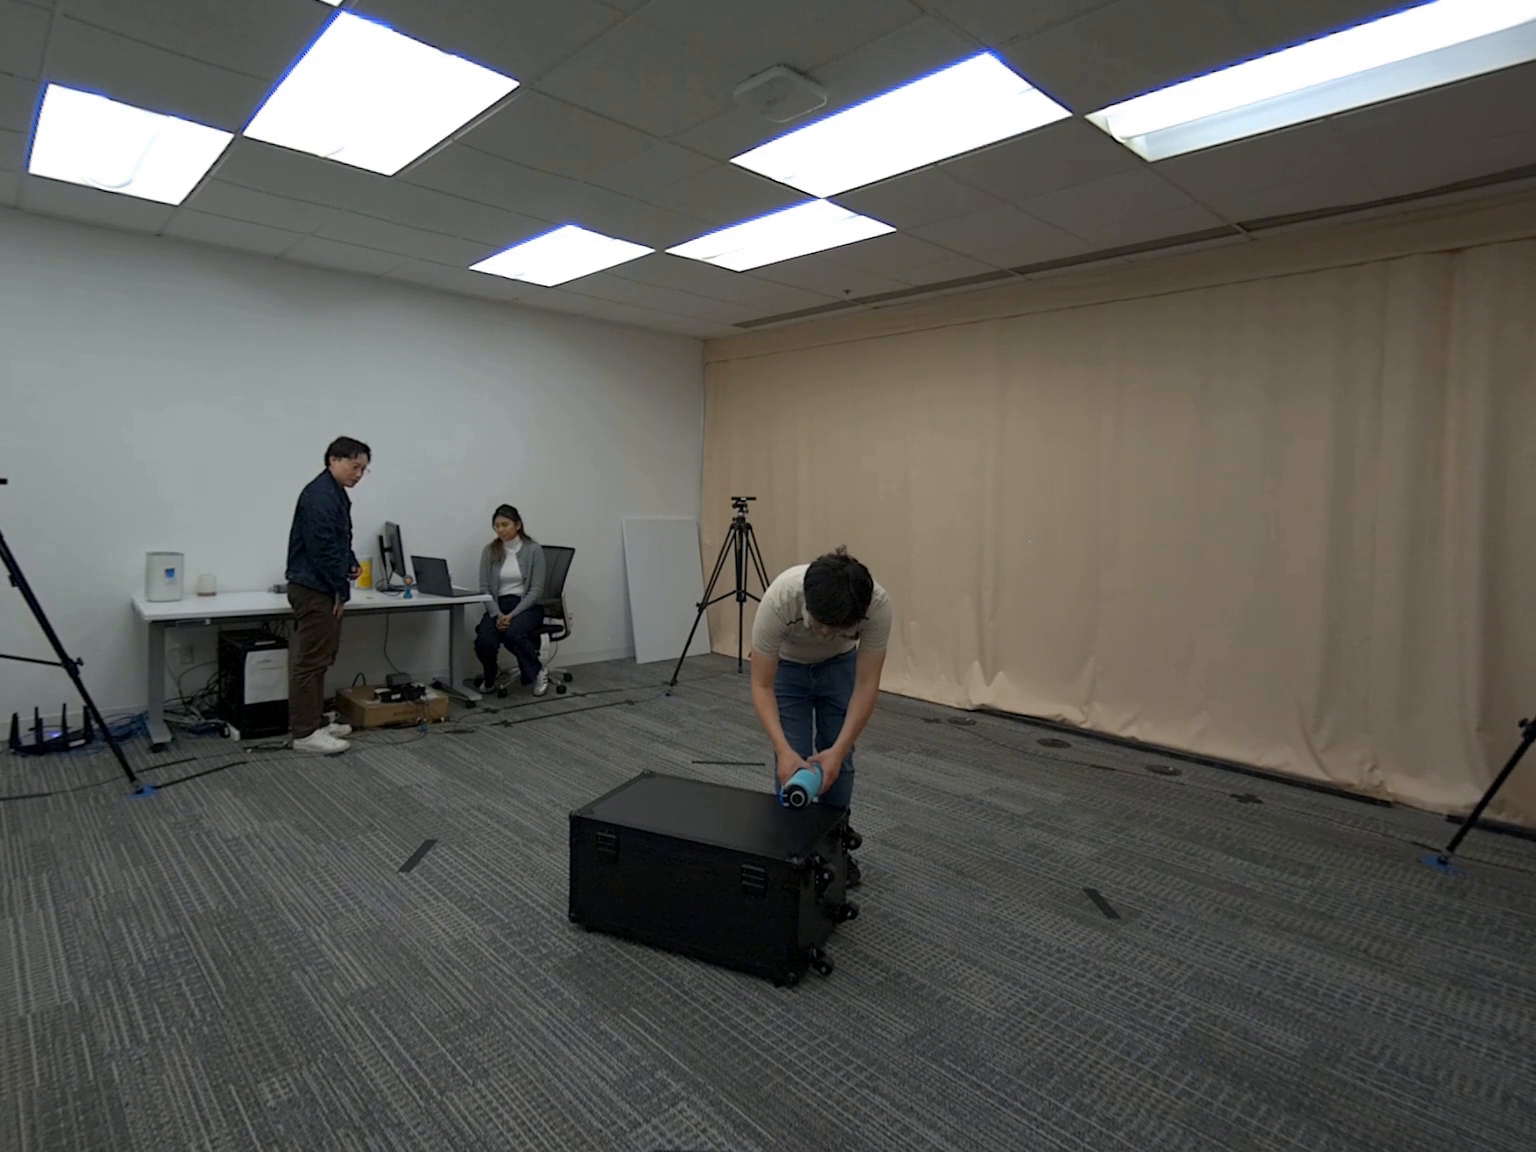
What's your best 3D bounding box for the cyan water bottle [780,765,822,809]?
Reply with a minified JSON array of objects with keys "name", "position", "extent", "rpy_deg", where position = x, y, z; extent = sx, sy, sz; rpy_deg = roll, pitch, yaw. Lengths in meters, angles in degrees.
[{"name":"cyan water bottle","position":[0.096,0.654,2.597],"extent":[0.093,0.092,0.280],"rpy_deg":[2,3,14]}]
